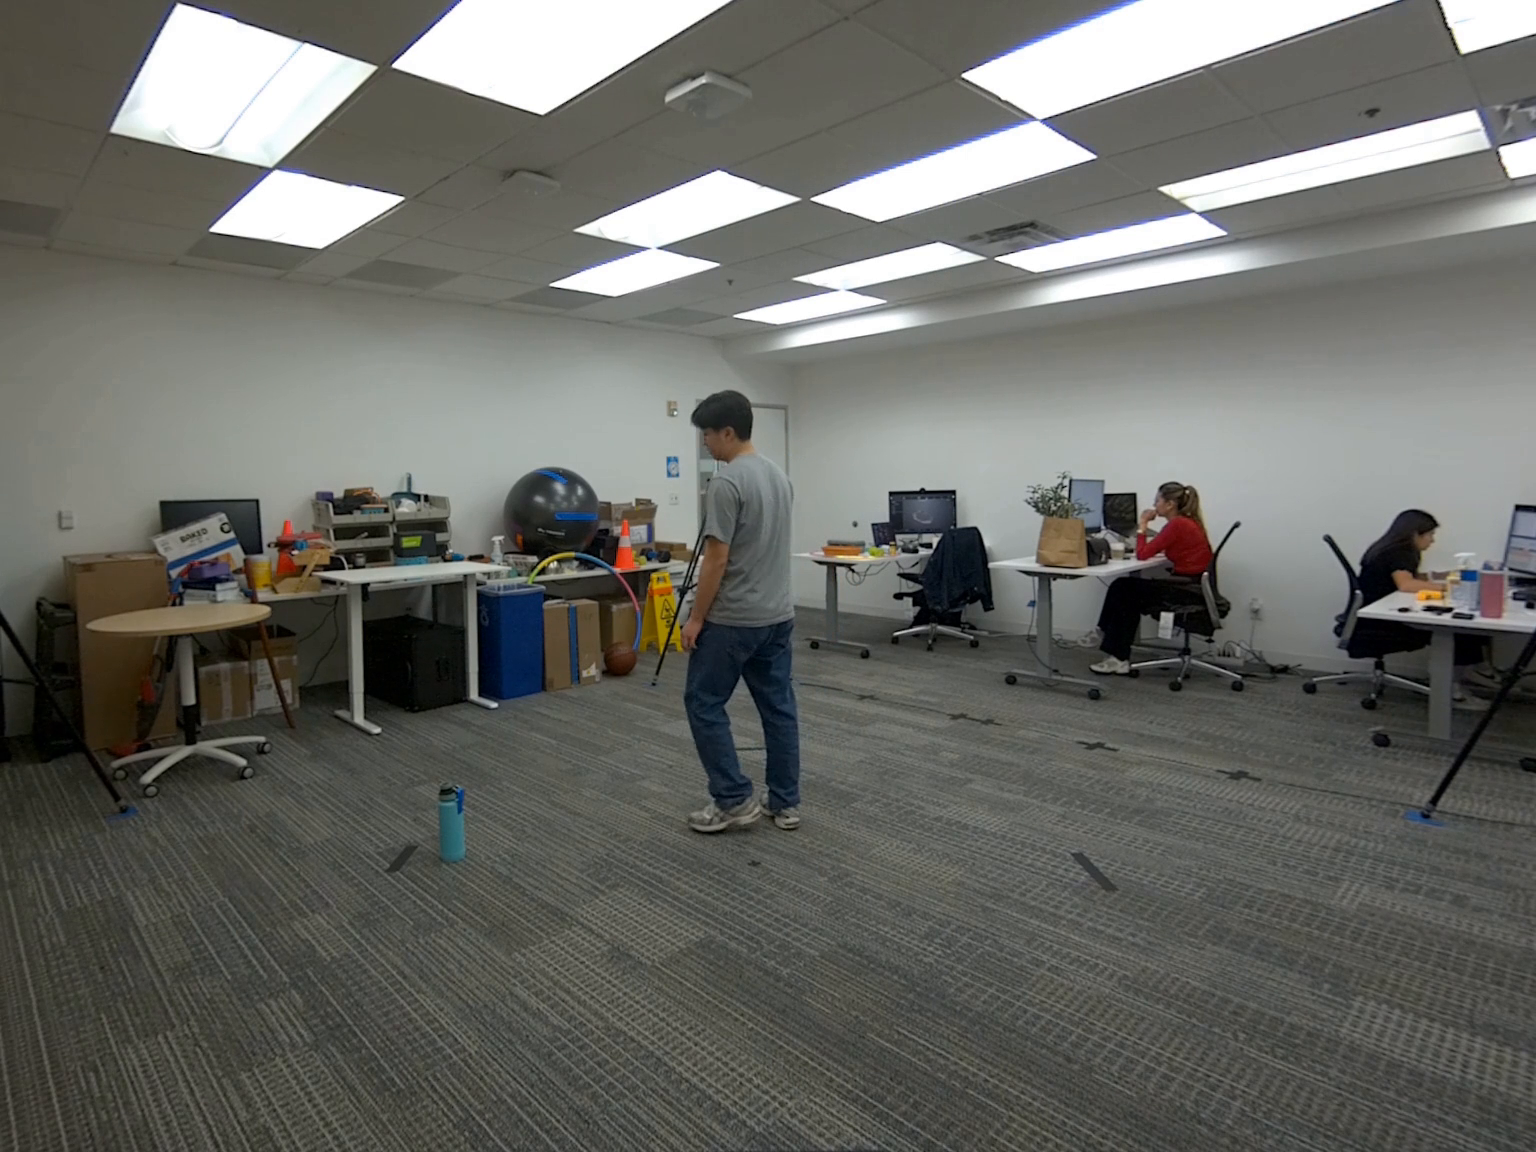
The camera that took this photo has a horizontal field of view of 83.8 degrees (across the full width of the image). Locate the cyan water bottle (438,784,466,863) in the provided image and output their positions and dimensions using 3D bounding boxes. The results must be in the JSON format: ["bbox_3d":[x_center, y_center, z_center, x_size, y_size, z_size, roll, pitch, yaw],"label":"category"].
[{"bbox_3d":[-1.184,0.917,3.202,0.092,0.282,0.093,-1,3,-2],"label":"cyan water bottle"}]
